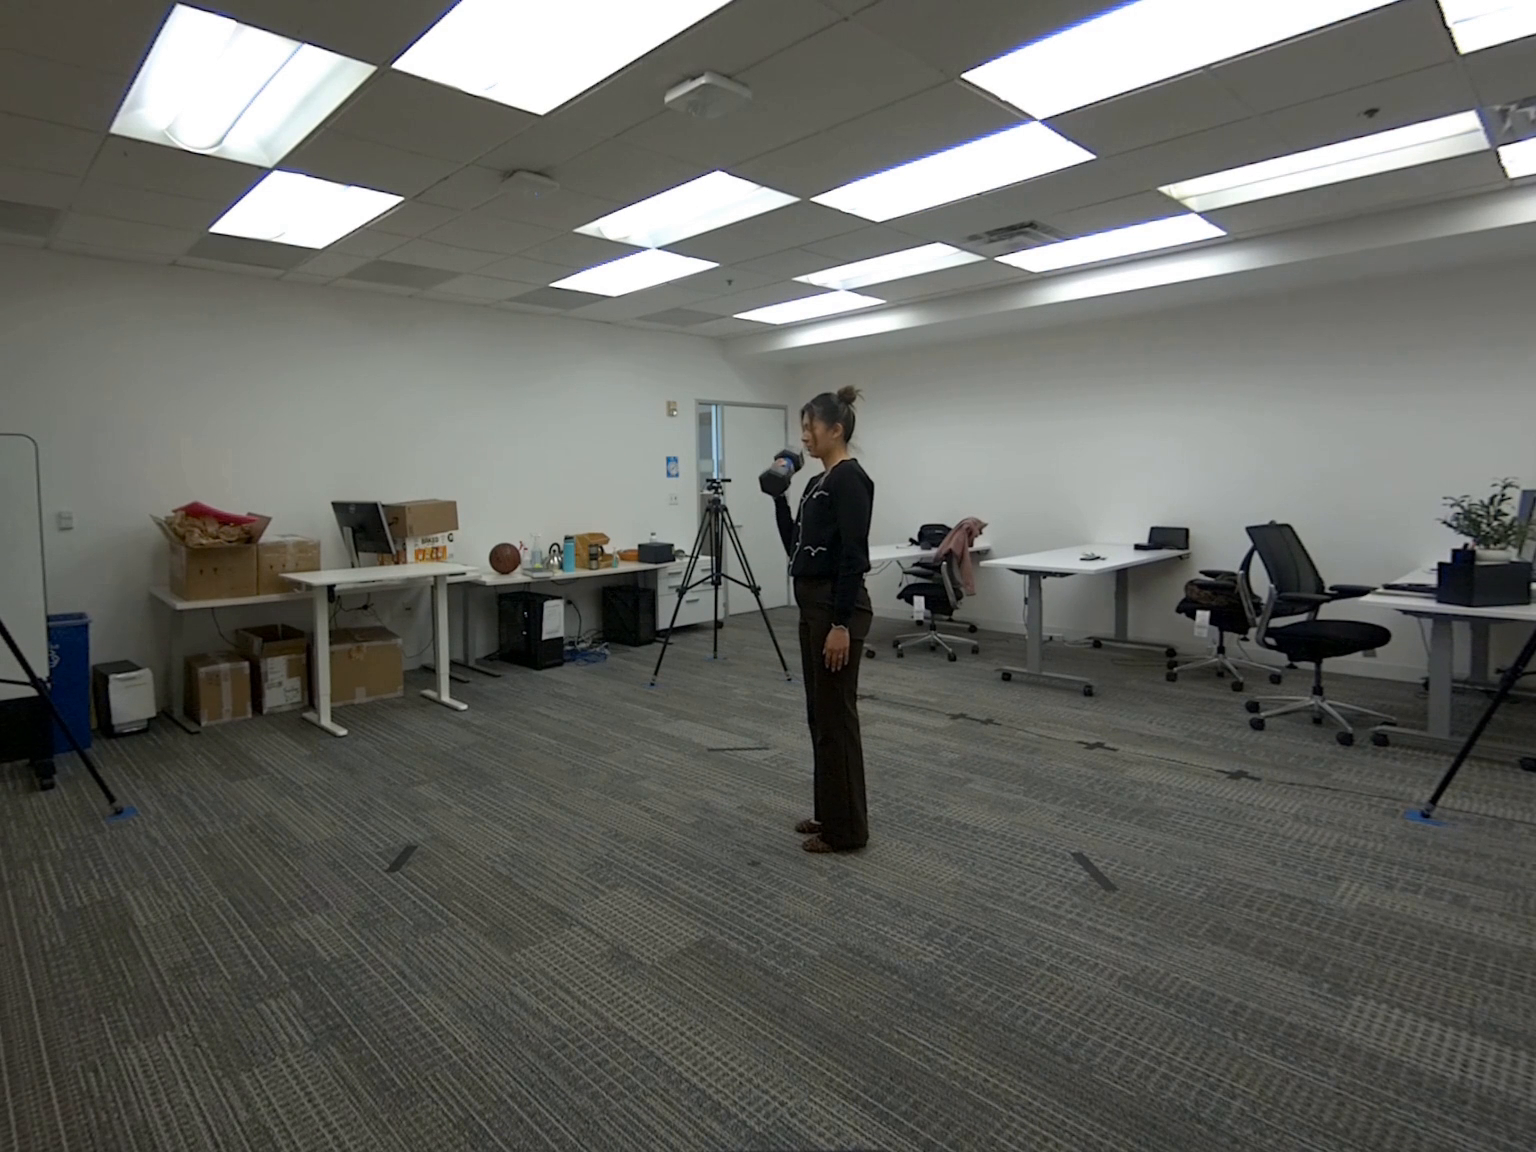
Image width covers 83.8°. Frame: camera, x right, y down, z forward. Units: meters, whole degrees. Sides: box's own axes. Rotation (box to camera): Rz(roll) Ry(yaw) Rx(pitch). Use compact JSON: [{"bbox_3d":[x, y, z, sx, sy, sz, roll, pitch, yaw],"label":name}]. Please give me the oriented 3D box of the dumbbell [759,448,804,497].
[{"bbox_3d":[0.065,-0.424,3.419,0.124,0.107,0.296,21,33,5],"label":"dumbbell"}]
